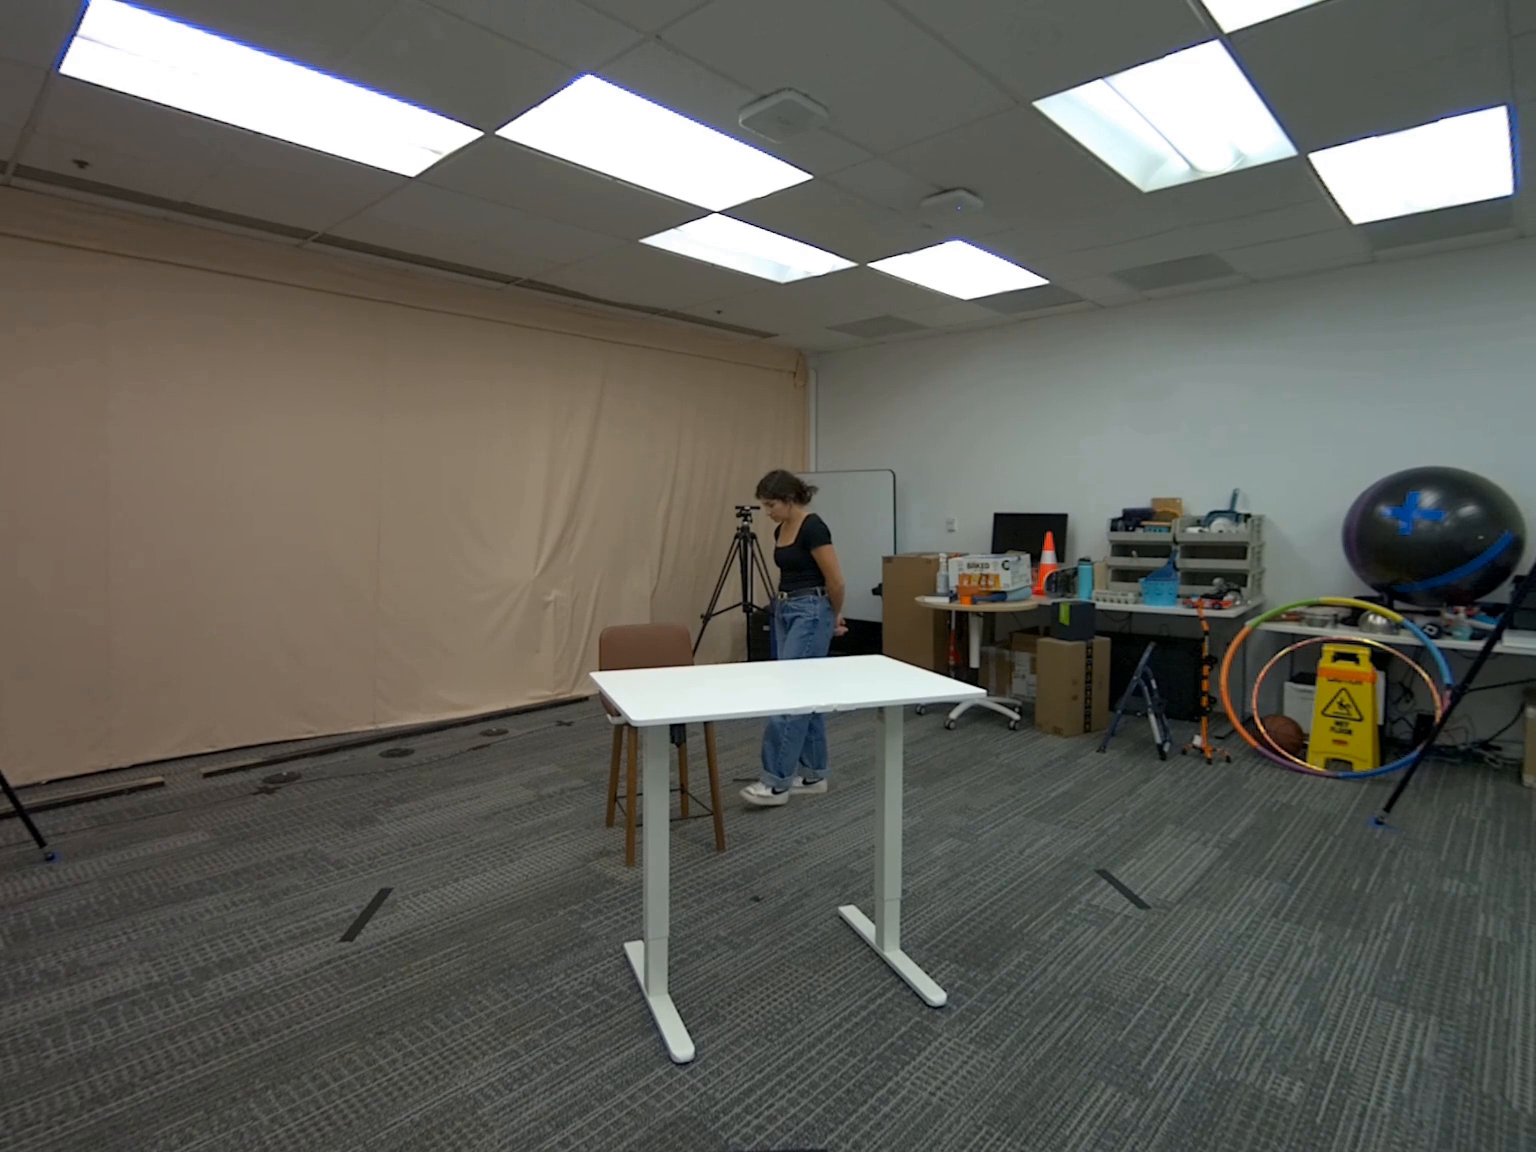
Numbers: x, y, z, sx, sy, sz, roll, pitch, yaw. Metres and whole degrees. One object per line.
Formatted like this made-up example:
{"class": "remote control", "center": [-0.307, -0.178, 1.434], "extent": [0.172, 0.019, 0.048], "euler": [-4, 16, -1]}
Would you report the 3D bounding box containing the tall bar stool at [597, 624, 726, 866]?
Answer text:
{"class": "tall bar stool", "center": [-0.453, 0.669, 3.514], "extent": [0.447, 0.889, 0.478], "euler": [-2, 2, -22]}
